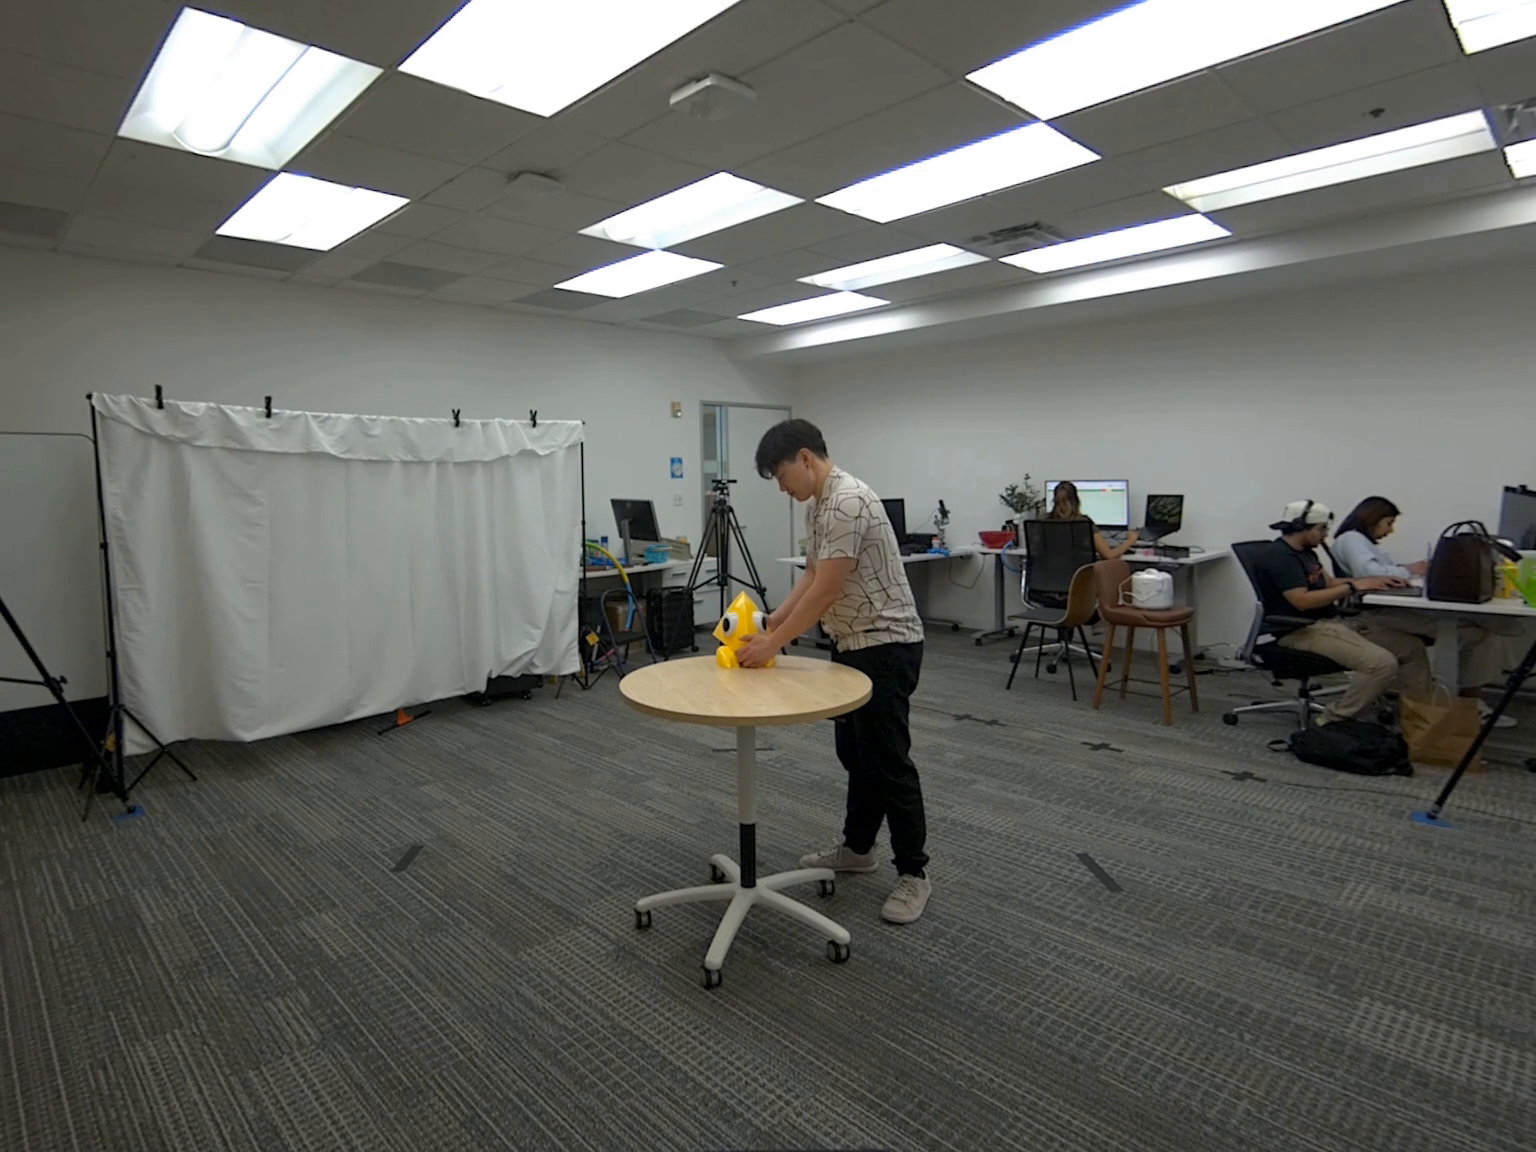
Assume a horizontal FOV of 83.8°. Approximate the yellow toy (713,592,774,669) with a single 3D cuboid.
[{"bbox_3d":[-0.071,0.171,2.867,0.204,0.230,0.194,0,3,-4],"label":"yellow toy"}]
